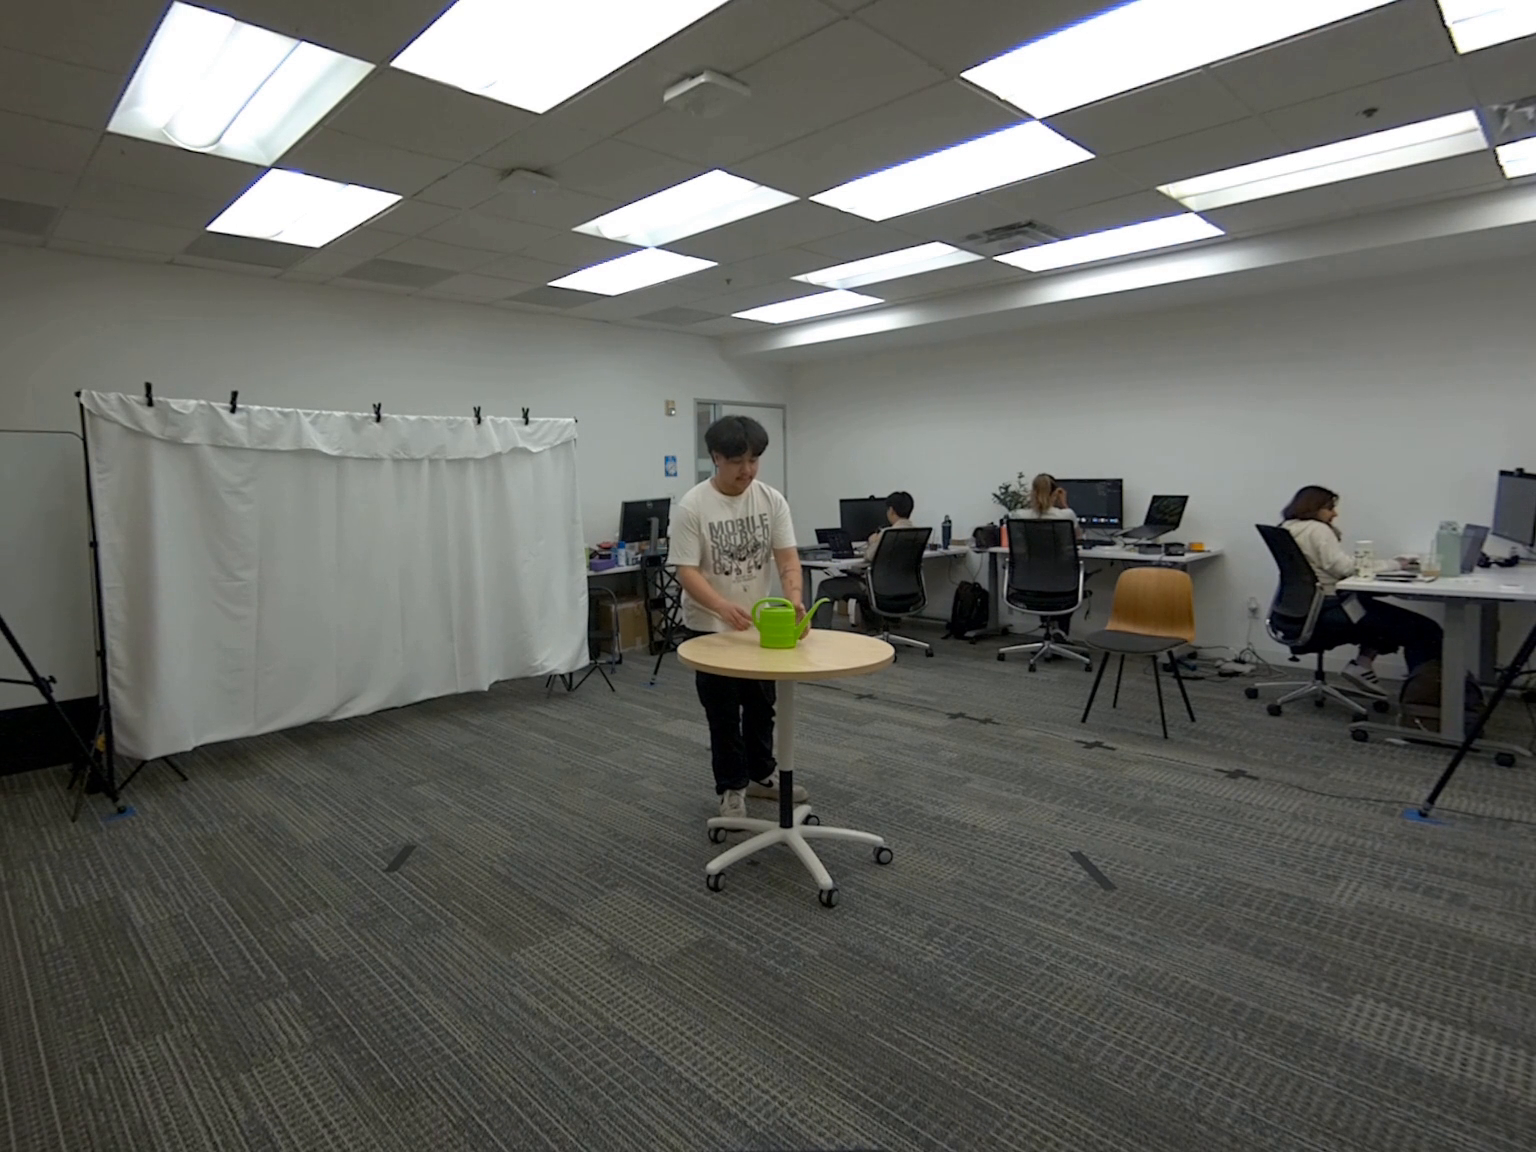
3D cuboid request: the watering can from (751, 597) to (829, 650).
[{"bbox_3d":[0.074,0.174,3.039,0.285,0.176,0.096,1,5,28],"label":"watering can"}]
